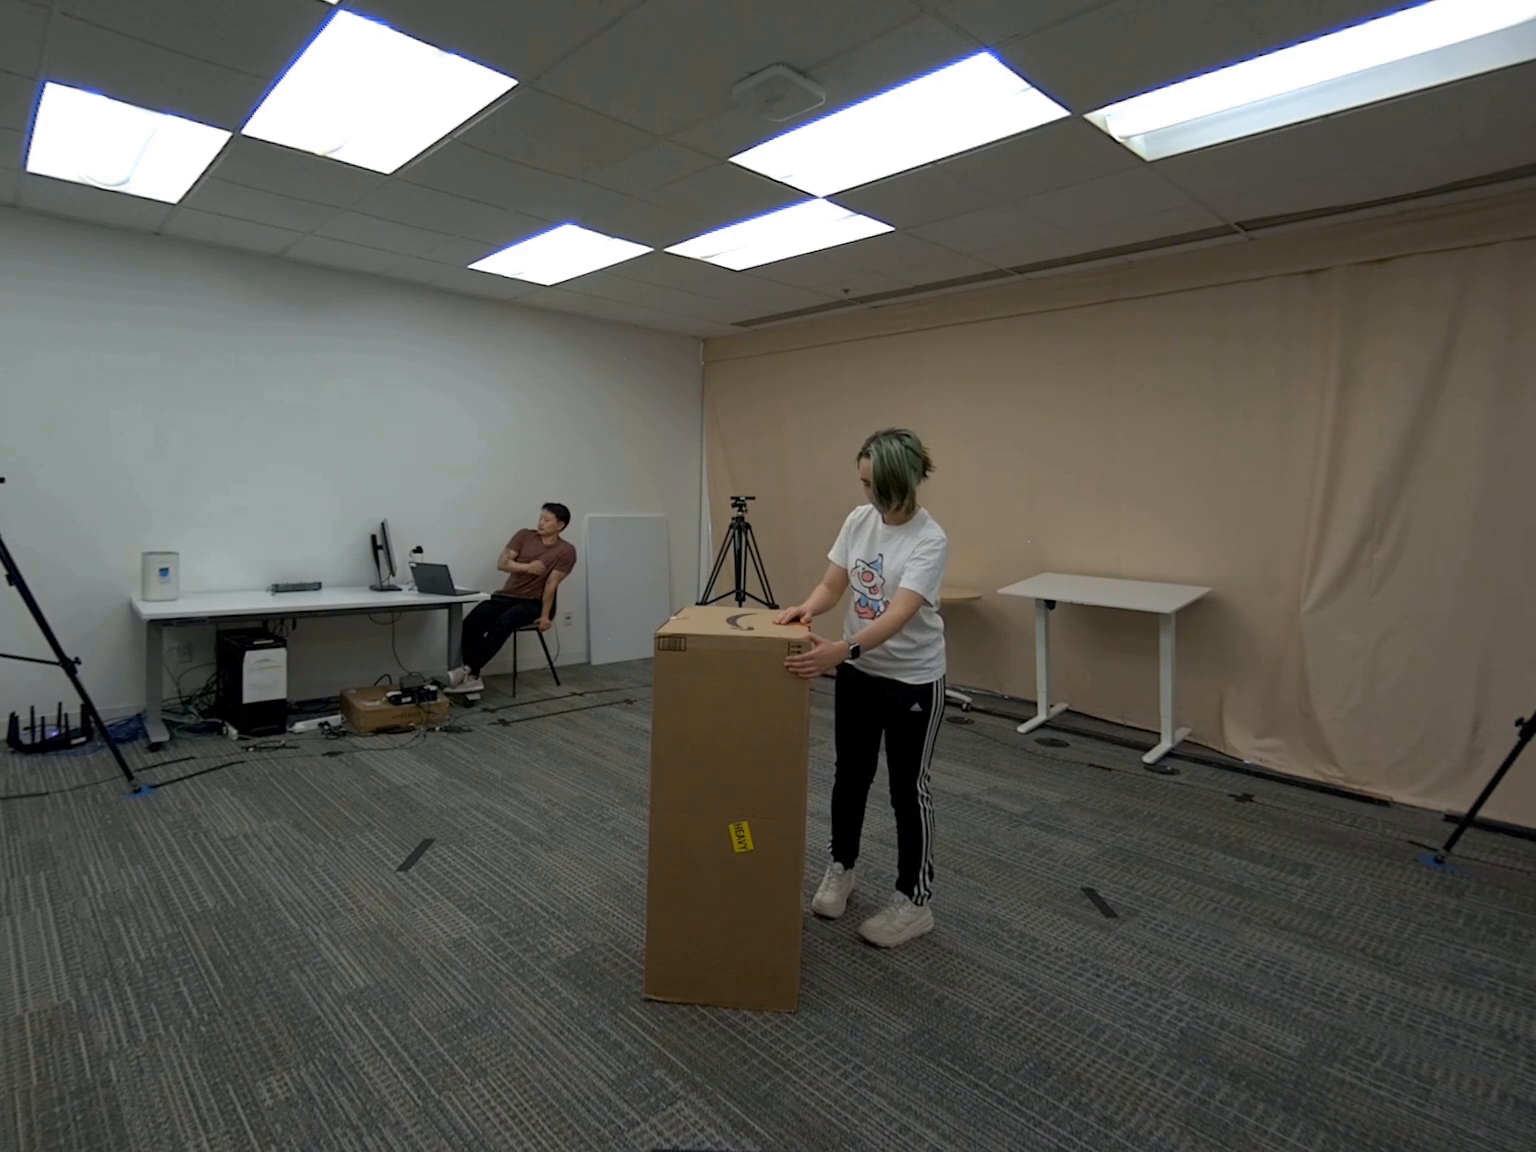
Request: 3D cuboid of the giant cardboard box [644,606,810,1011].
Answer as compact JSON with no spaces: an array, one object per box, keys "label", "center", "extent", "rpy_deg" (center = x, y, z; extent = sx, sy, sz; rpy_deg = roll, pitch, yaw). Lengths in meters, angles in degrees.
[{"label":"giant cardboard box","center":[-0.108,0.652,2.550],"extent":[0.428,1.023,0.576],"rpy_deg":[2,3,5]}]
